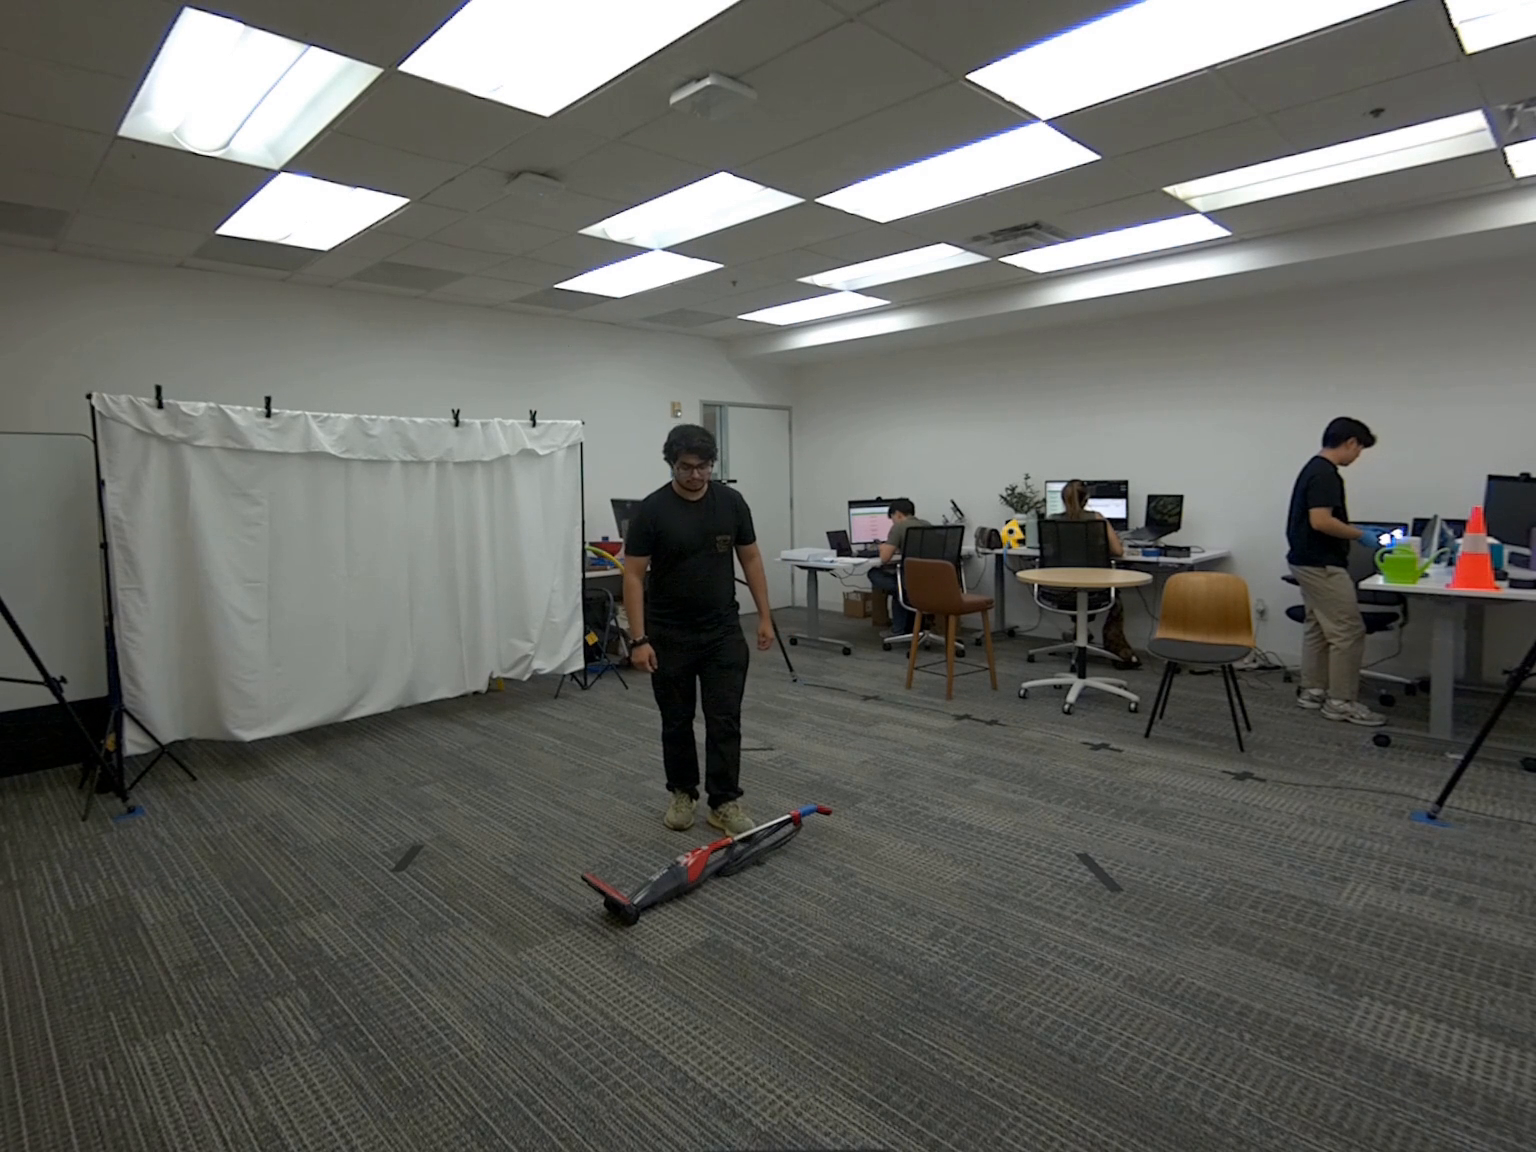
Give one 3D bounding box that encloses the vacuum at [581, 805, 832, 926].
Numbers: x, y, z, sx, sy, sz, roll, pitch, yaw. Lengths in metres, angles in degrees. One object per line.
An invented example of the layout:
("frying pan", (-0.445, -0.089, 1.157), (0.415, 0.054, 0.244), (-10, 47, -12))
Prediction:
("vacuum", (-0.128, 0.993, 3.063), (1.022, 0.143, 0.261), (-6, 9, -42))
